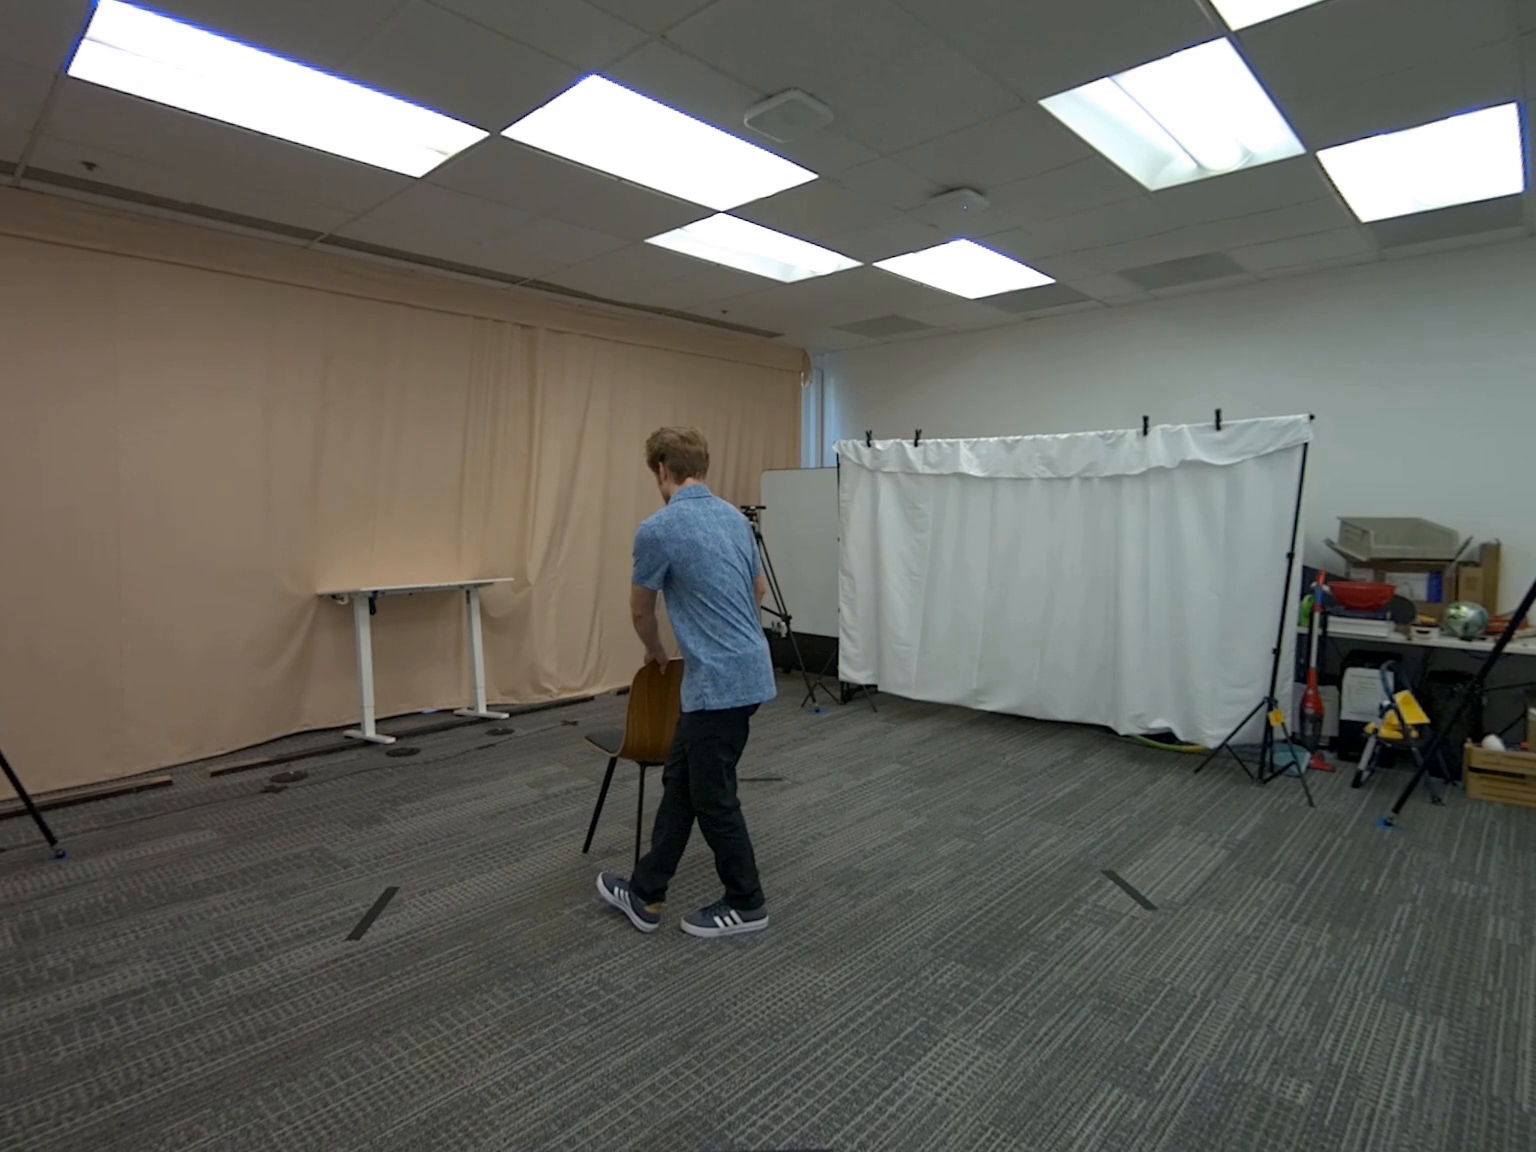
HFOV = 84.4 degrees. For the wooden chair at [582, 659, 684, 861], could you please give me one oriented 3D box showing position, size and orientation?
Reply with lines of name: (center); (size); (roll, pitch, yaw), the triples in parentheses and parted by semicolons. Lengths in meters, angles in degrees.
wooden chair: (-0.443, 0.688, 3.310); (0.464, 0.874, 0.540); (-3, 8, -34)
